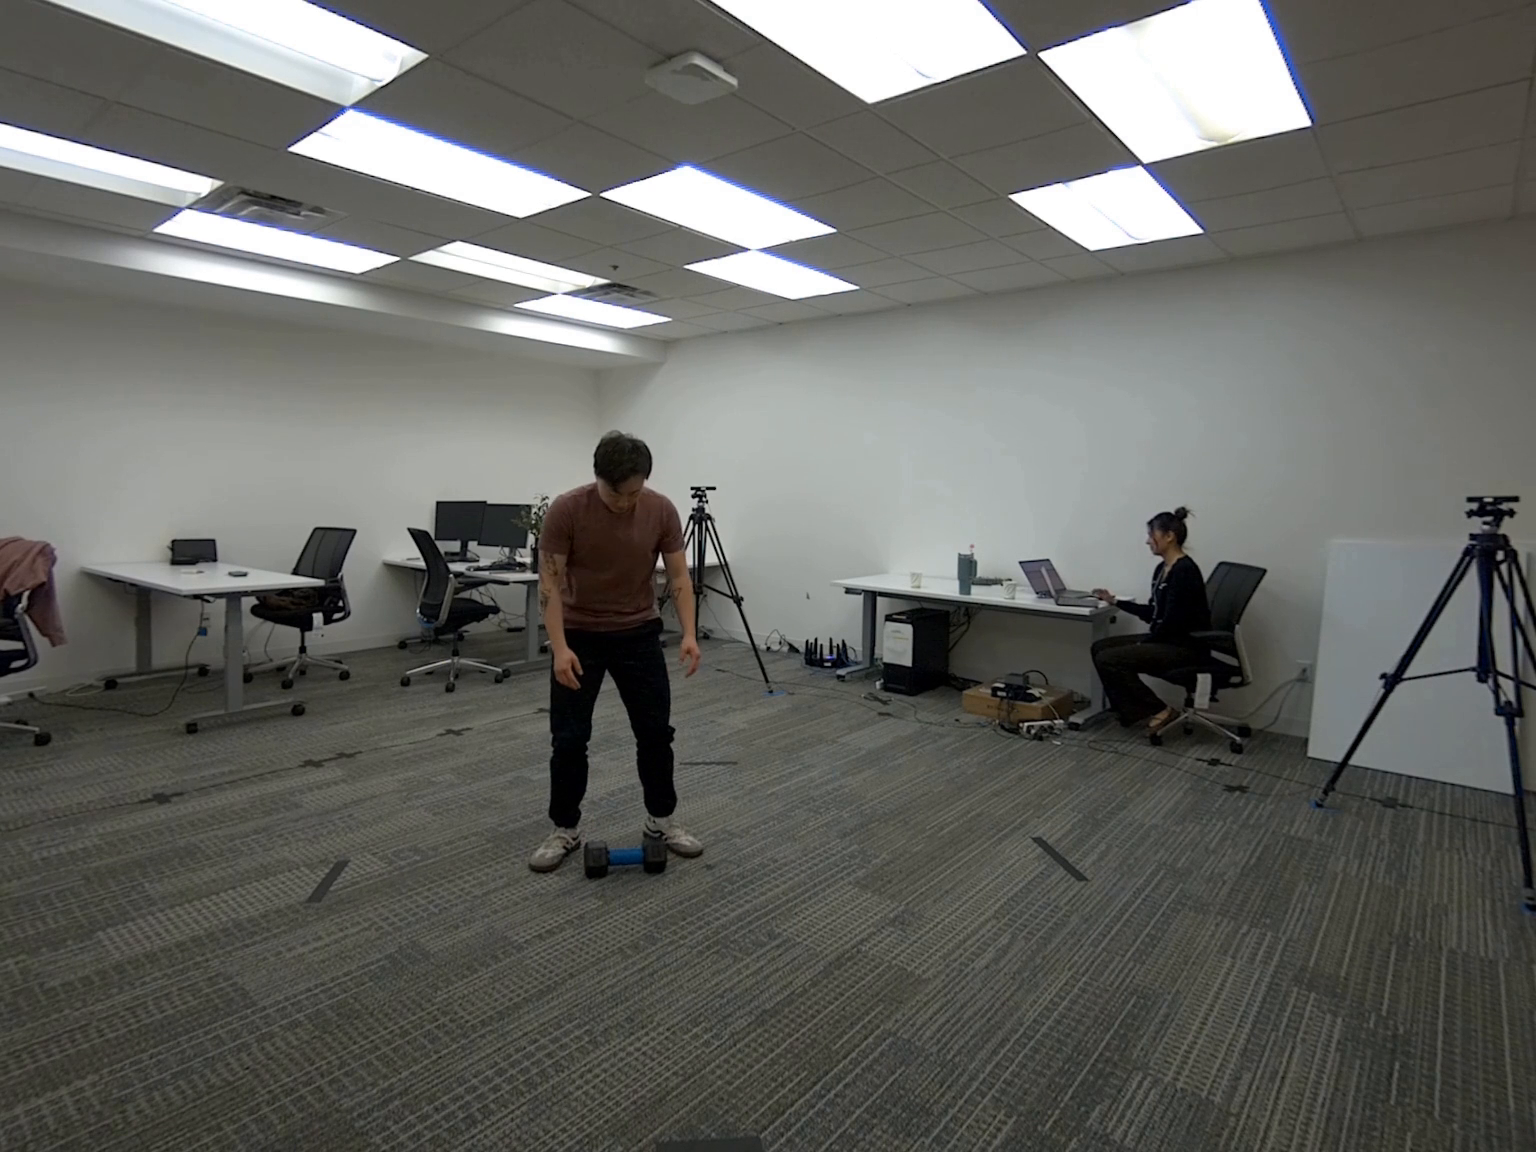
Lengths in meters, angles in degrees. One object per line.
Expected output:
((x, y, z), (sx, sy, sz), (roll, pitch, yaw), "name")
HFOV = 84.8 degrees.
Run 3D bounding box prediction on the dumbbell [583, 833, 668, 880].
((-0.525, 1.012, 3.058), (0.289, 0.120, 0.112), (1, 34, -13), "dumbbell")
